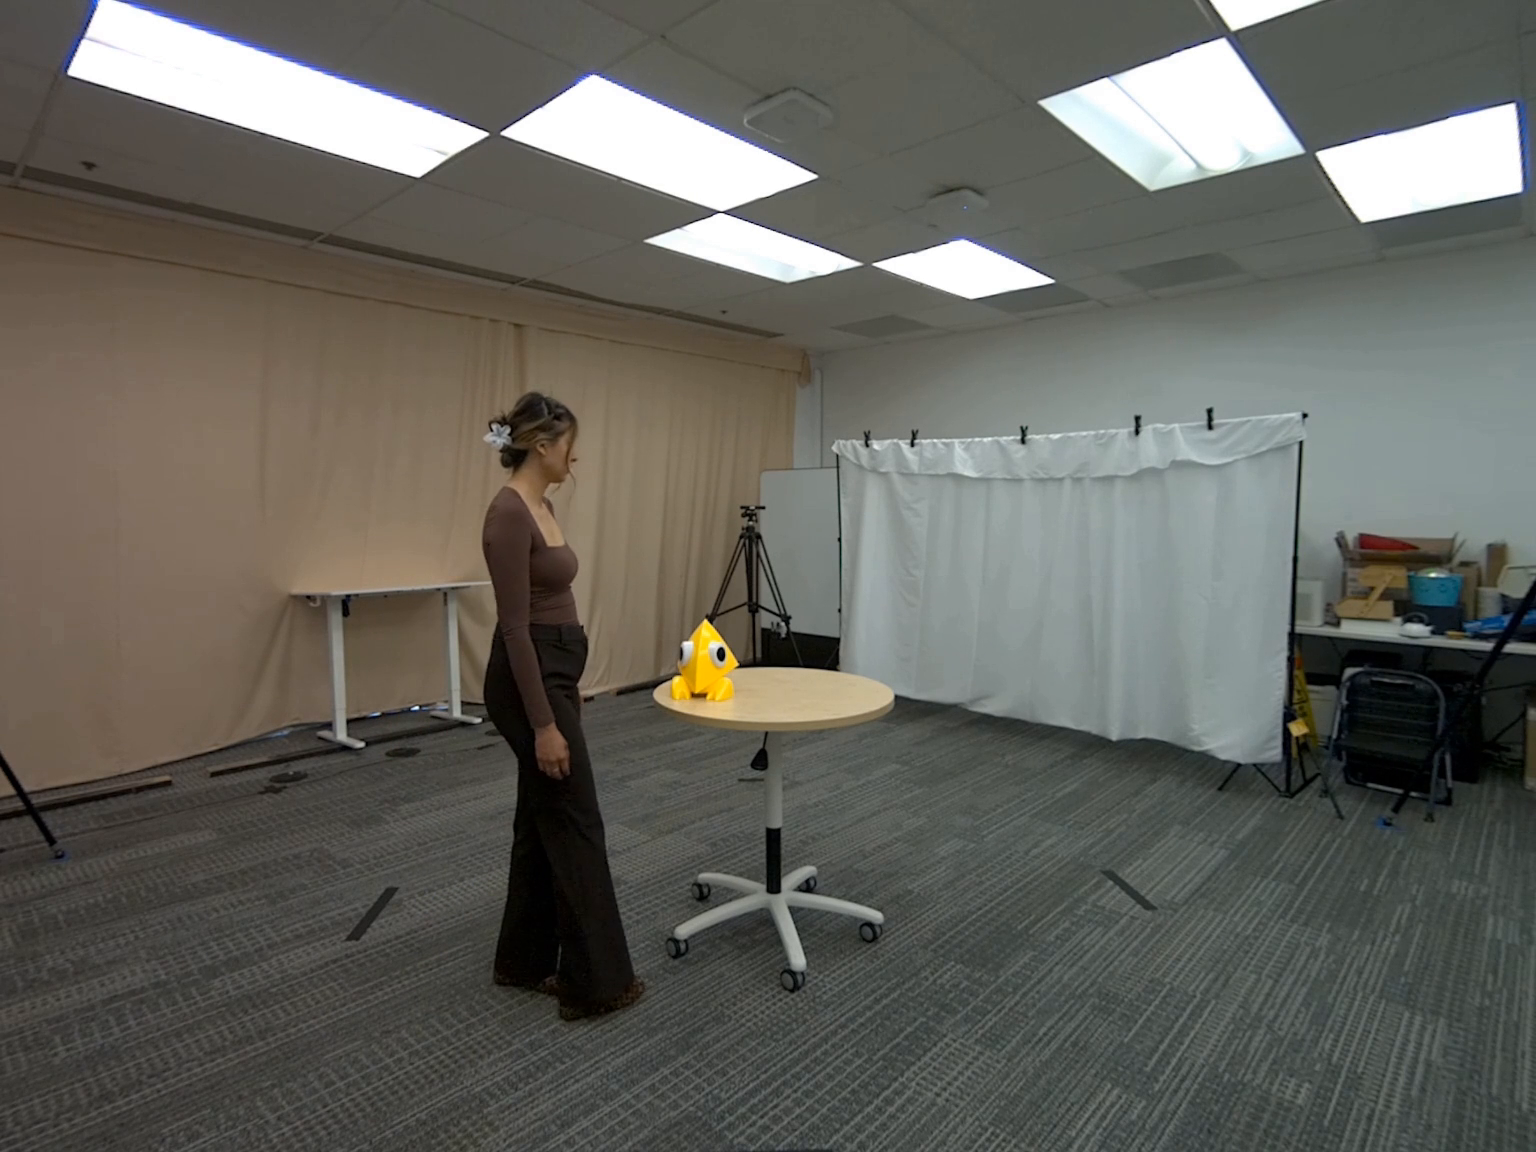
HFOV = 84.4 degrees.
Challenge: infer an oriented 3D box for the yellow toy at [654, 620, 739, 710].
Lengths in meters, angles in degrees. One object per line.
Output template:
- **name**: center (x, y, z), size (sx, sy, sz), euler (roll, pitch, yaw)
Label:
- **yellow toy**: center (-0.206, 0.259, 2.668), size (0.207, 0.230, 0.191), euler (0, 2, 10)
